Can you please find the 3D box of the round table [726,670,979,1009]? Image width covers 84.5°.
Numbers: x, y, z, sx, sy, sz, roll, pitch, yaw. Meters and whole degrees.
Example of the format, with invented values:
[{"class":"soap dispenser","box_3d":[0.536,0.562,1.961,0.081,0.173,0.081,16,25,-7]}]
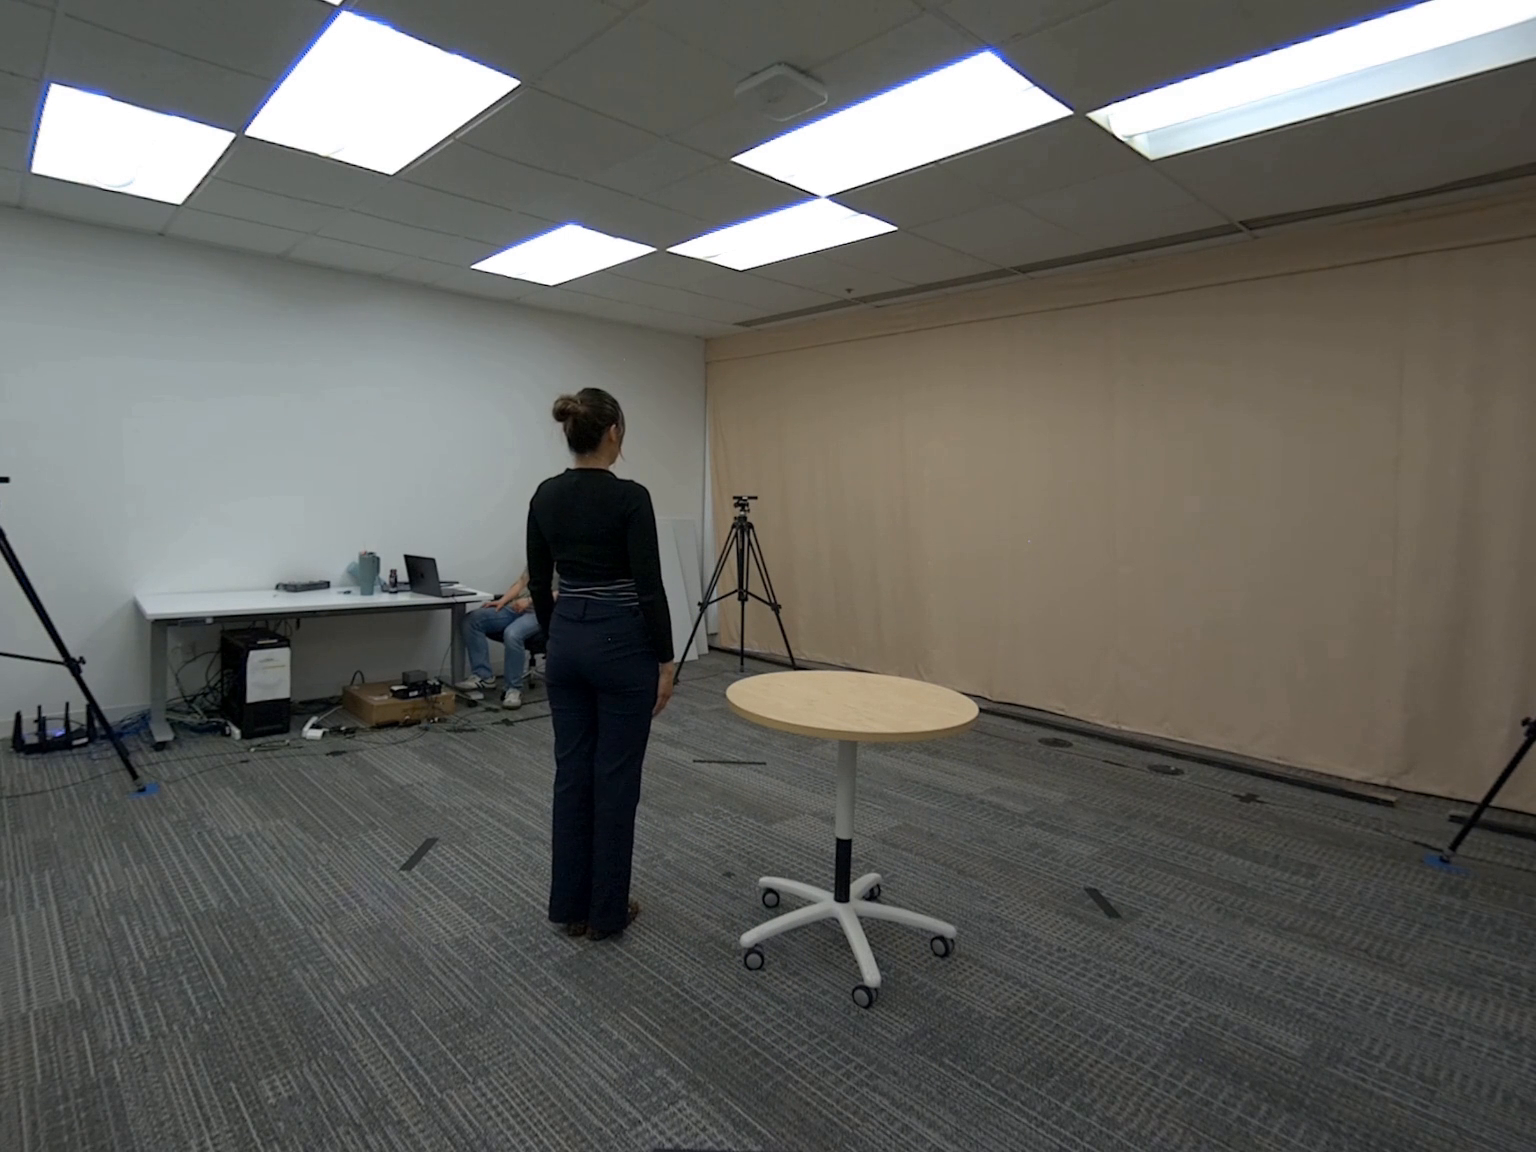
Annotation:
[{"class":"round table","box_3d":[0.238,0.769,2.623,0.763,0.792,0.767,2,4,-2]}]
